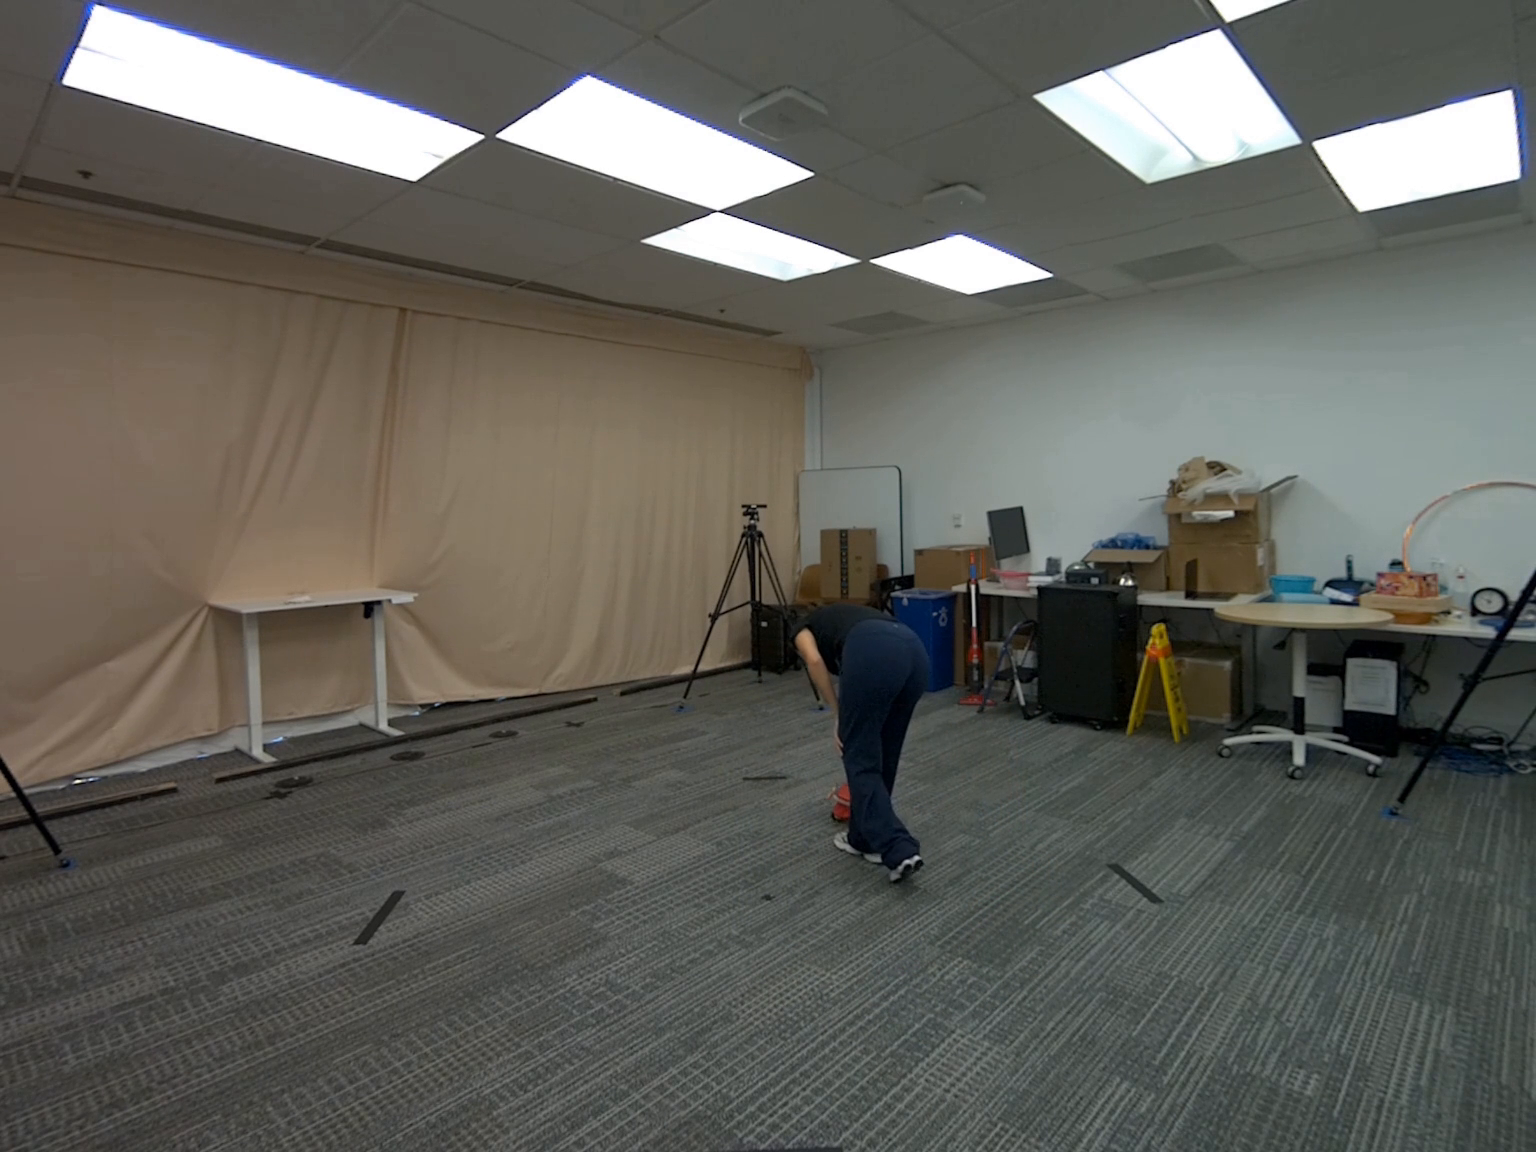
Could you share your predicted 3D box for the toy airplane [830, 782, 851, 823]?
[{"bbox_3d":[0.416,0.999,3.706,0.260,0.156,0.251,-2,4,1],"label":"toy airplane"}]
